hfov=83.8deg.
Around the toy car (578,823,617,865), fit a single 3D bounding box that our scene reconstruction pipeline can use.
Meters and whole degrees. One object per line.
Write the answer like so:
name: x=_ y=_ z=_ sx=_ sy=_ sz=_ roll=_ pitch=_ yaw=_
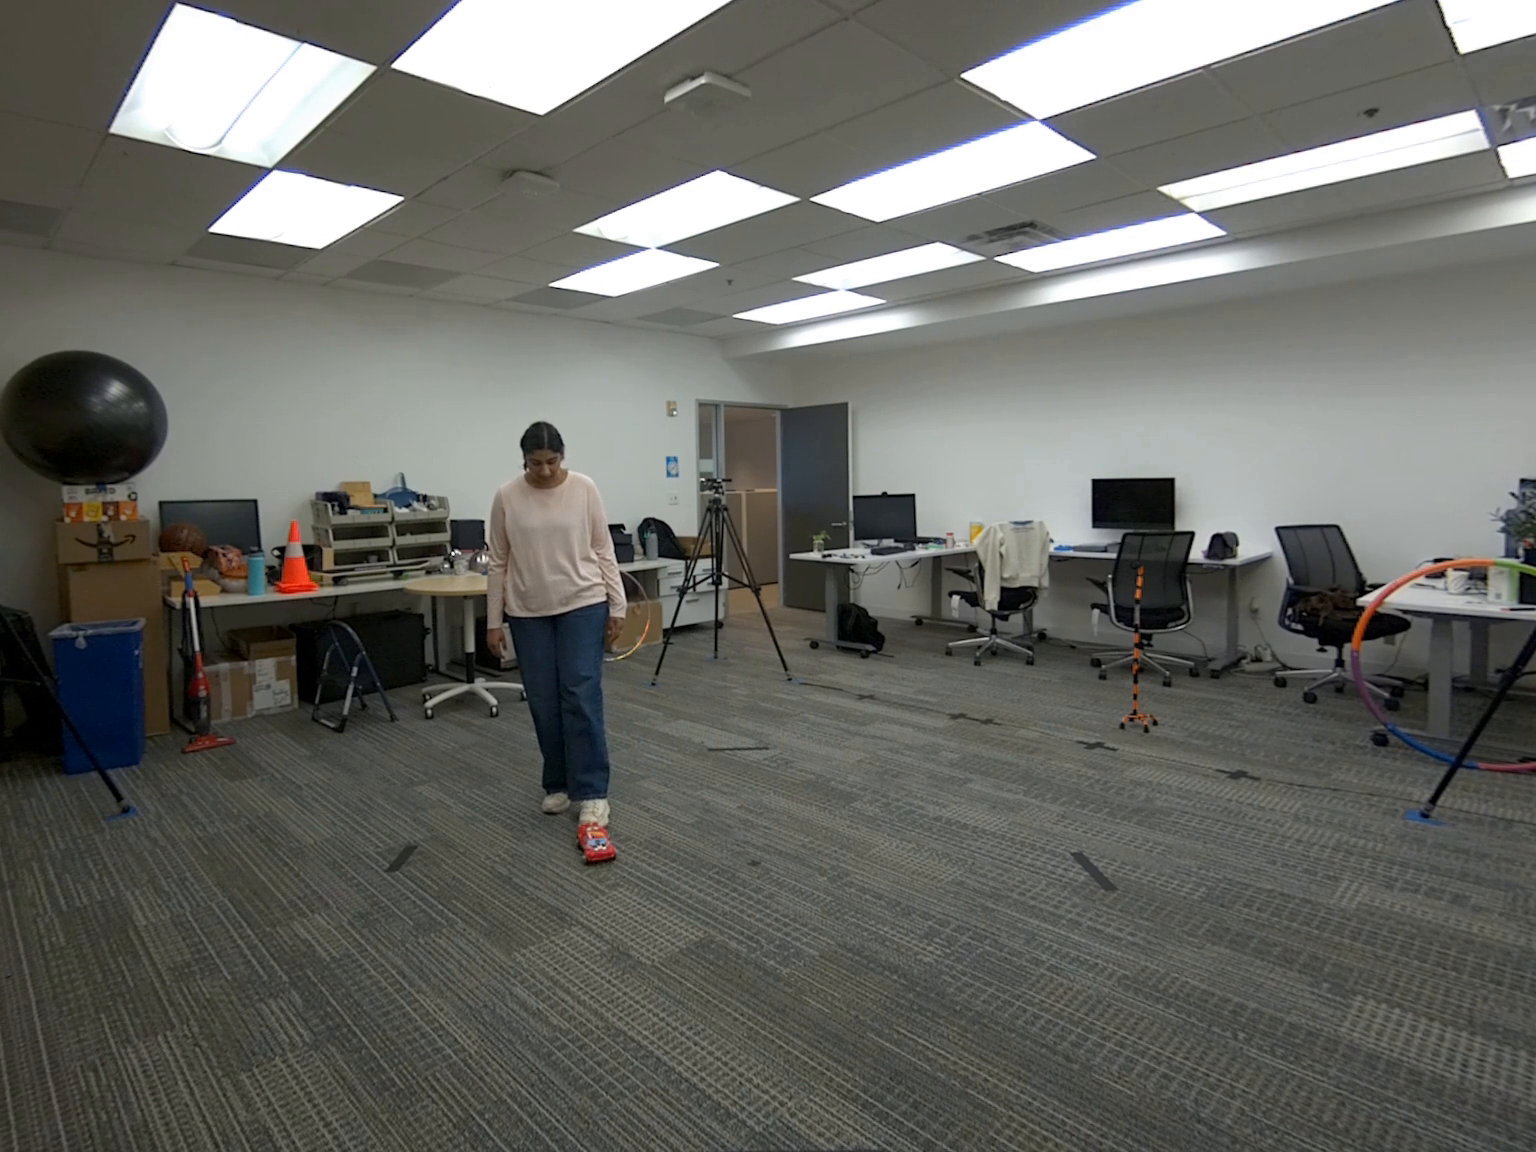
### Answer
toy car: x=-0.653 y=1.010 z=3.229 sx=0.128 sy=0.082 sz=0.262 roll=-3 pitch=17 yaw=-20
